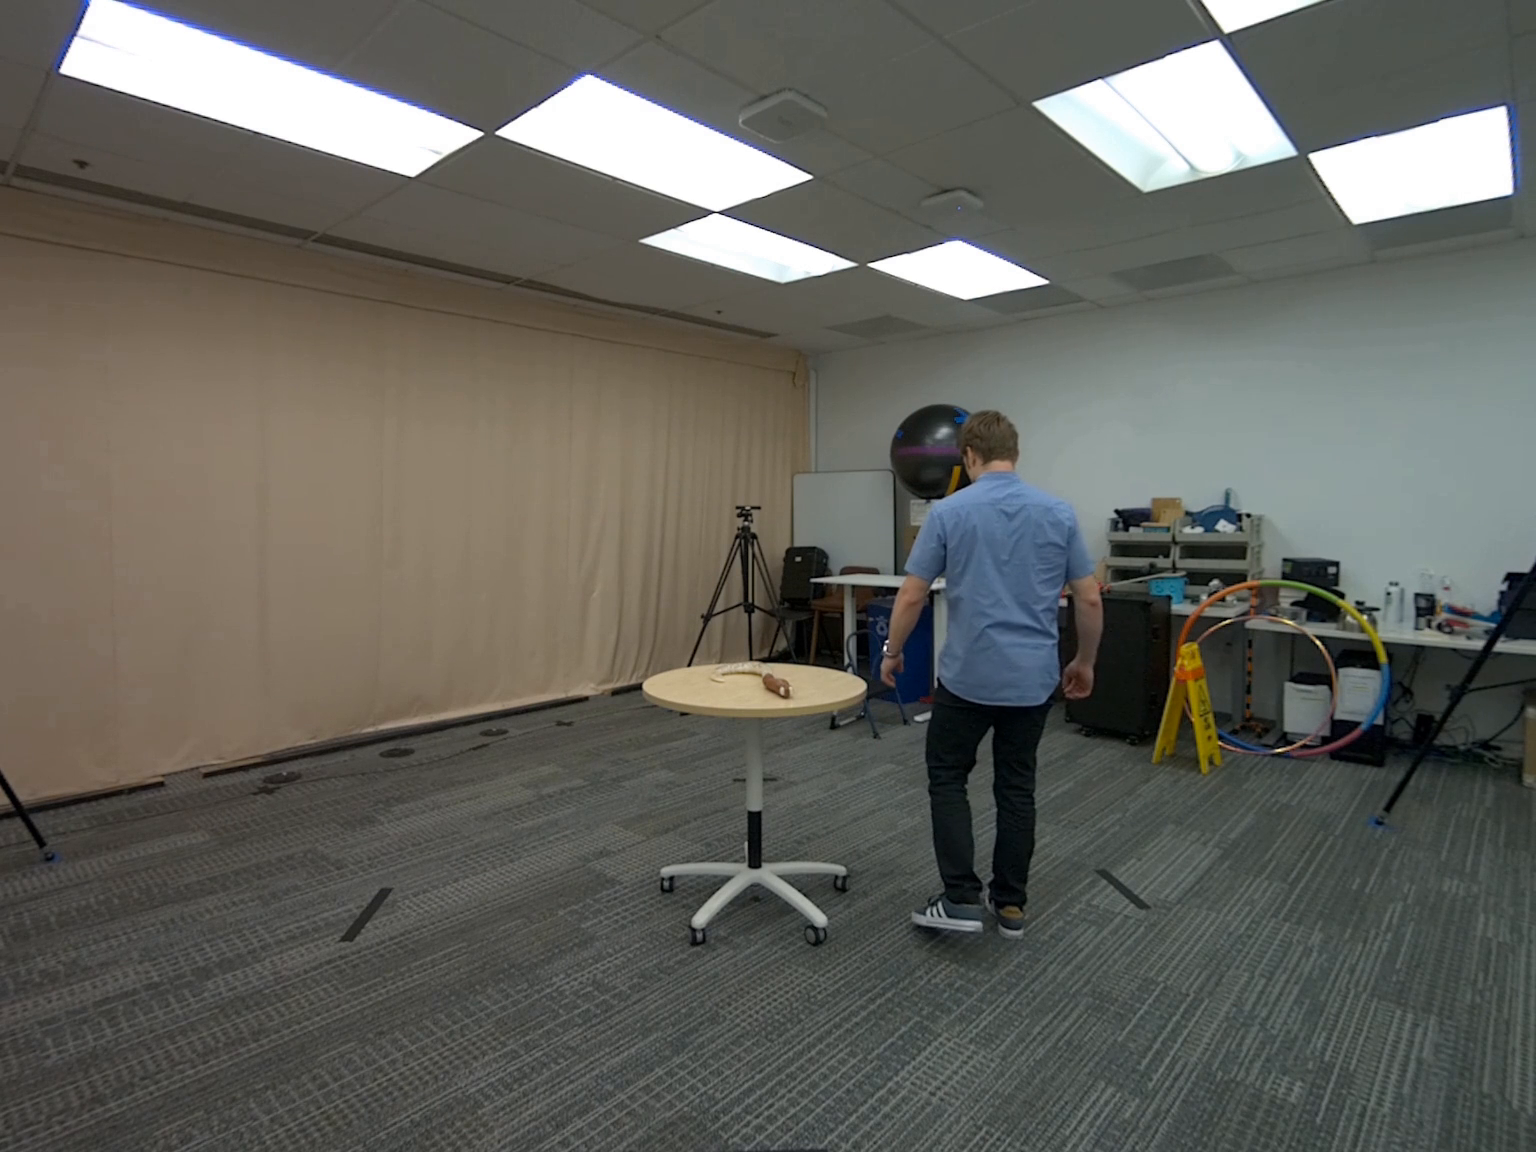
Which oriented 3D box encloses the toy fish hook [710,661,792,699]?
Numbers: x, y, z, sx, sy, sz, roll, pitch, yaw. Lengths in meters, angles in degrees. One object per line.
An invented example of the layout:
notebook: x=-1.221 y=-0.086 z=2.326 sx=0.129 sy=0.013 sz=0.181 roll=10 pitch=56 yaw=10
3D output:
toy fish hook: x=-0.052 y=0.360 z=2.871 sx=0.222 sy=0.048 sz=0.514 roll=-10 pitch=5 yaw=-14
